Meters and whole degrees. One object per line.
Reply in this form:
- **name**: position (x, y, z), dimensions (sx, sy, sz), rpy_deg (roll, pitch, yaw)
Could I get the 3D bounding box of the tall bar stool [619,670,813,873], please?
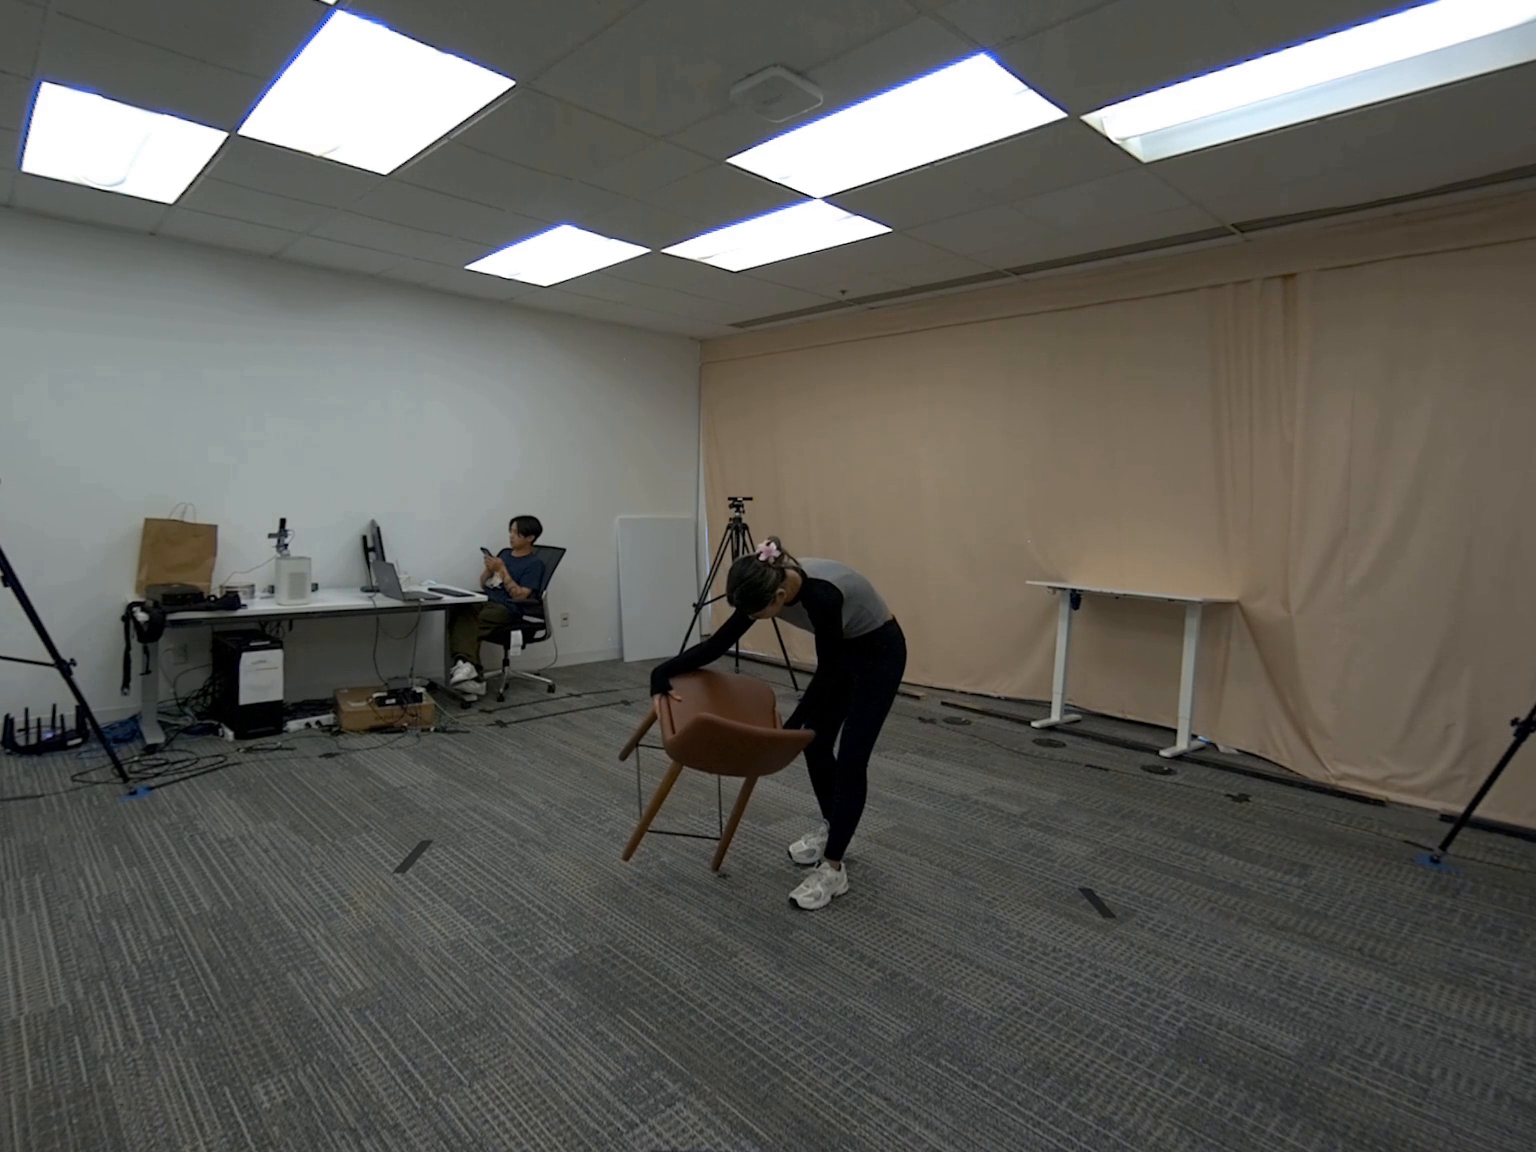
- **tall bar stool**: position (-0.225, 0.619, 3.002), dimensions (0.449, 0.882, 0.479), rpy_deg (13, 40, -19)
